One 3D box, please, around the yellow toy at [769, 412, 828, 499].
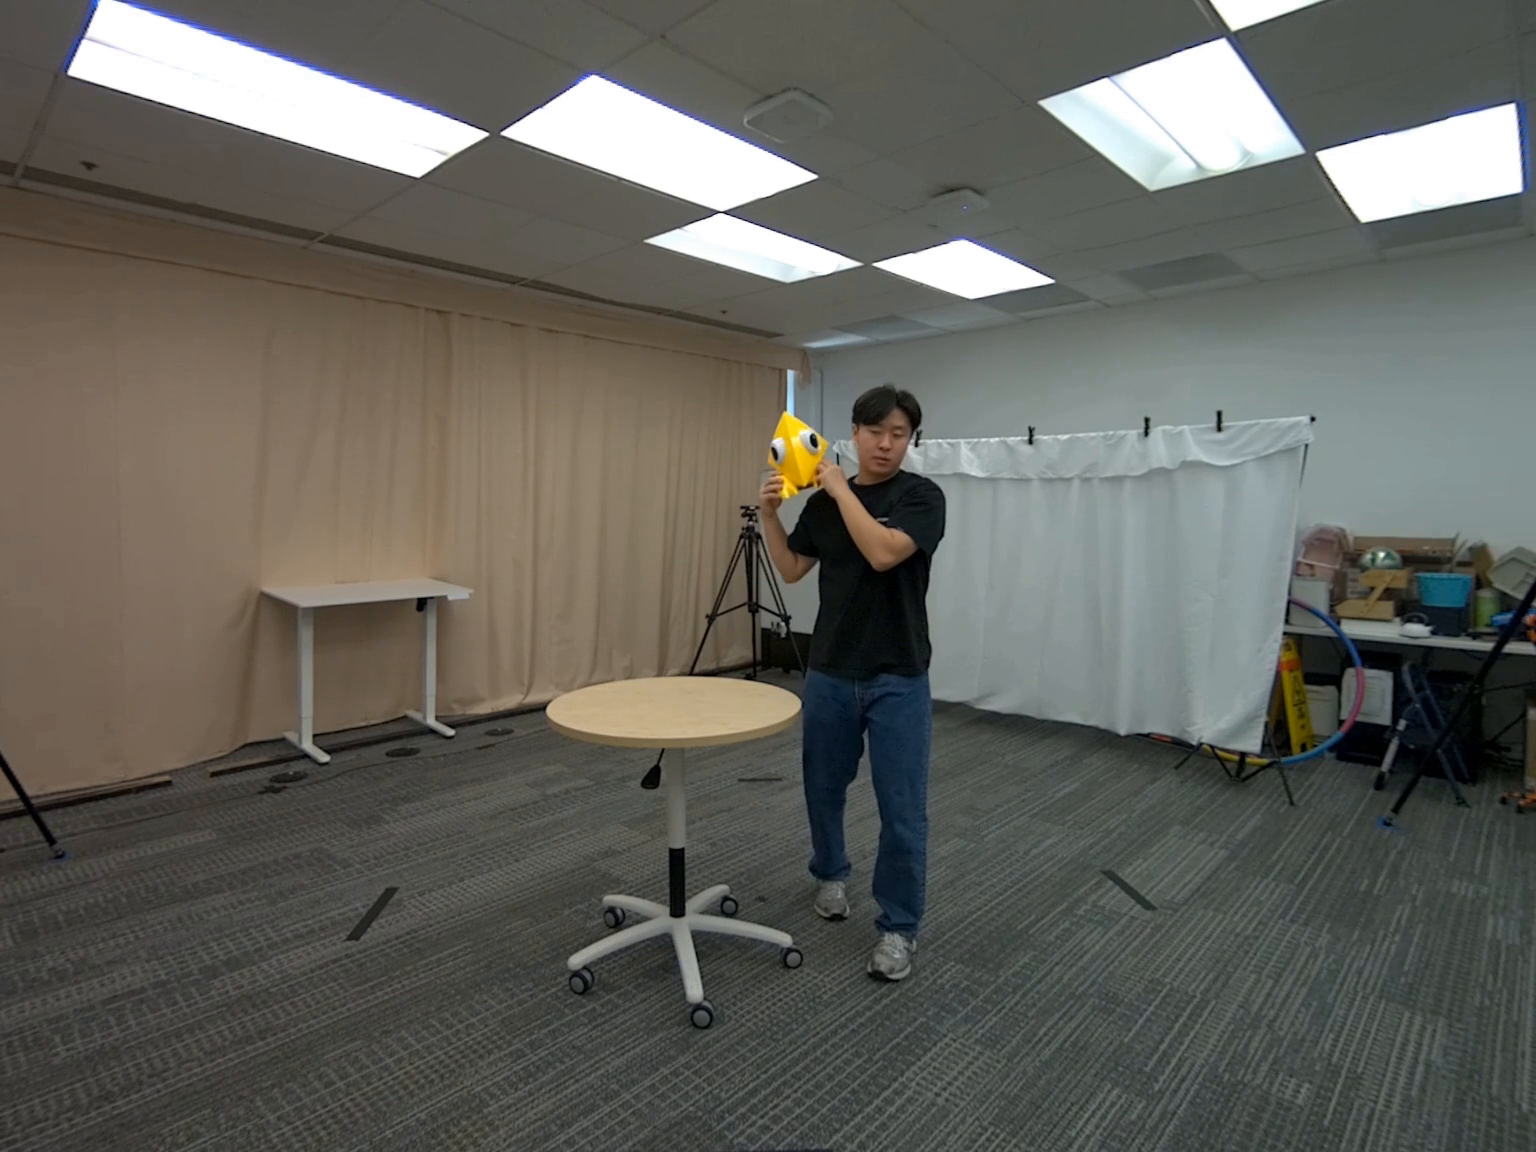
[{"bbox_3d":[0.086,-0.393,2.652,0.206,0.226,0.195,-15,22,9],"label":"yellow toy"}]
